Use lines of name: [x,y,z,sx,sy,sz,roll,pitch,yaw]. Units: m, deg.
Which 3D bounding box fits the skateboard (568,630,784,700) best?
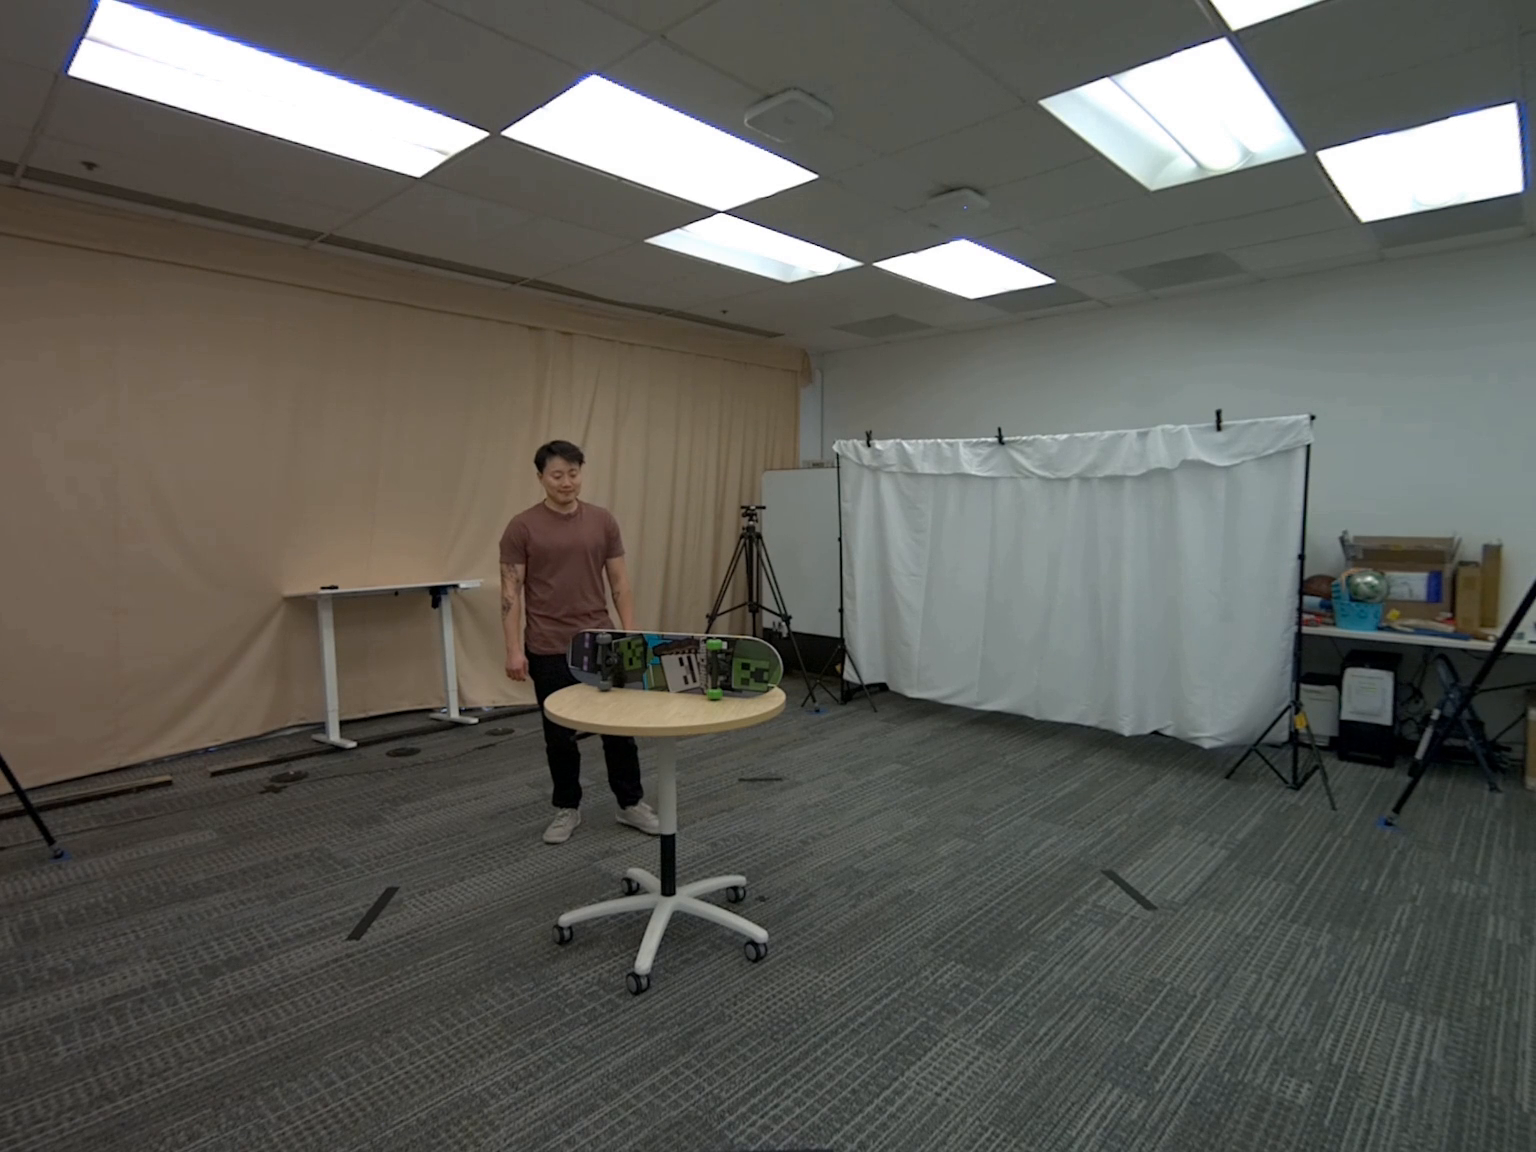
skateboard: [-0.332,0.286,2.735,0.804,0.193,0.108,1,5,23]
